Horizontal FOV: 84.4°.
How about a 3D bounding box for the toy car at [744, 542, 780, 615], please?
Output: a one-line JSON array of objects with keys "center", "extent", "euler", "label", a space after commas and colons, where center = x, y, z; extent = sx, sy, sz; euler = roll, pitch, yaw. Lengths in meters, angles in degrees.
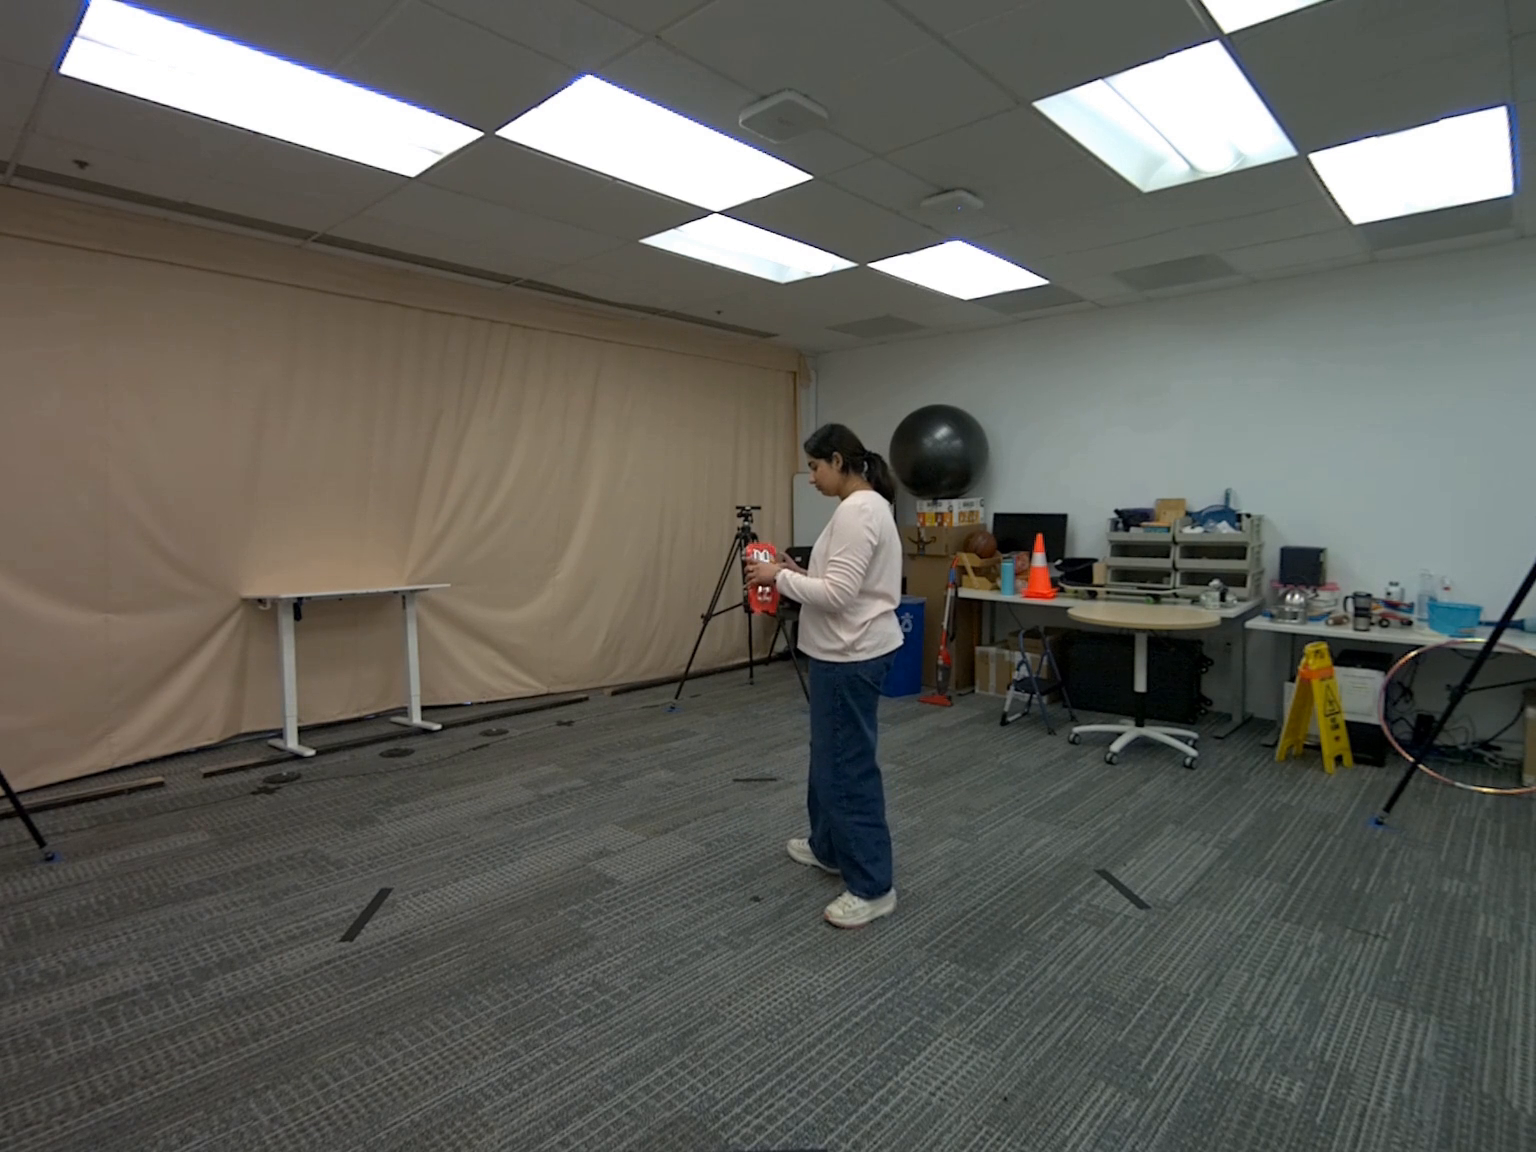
[{"center": [-0.009, 0.012, 3.001], "extent": [0.128, 0.258, 0.083], "euler": [1, -22, -13], "label": "toy car"}]
